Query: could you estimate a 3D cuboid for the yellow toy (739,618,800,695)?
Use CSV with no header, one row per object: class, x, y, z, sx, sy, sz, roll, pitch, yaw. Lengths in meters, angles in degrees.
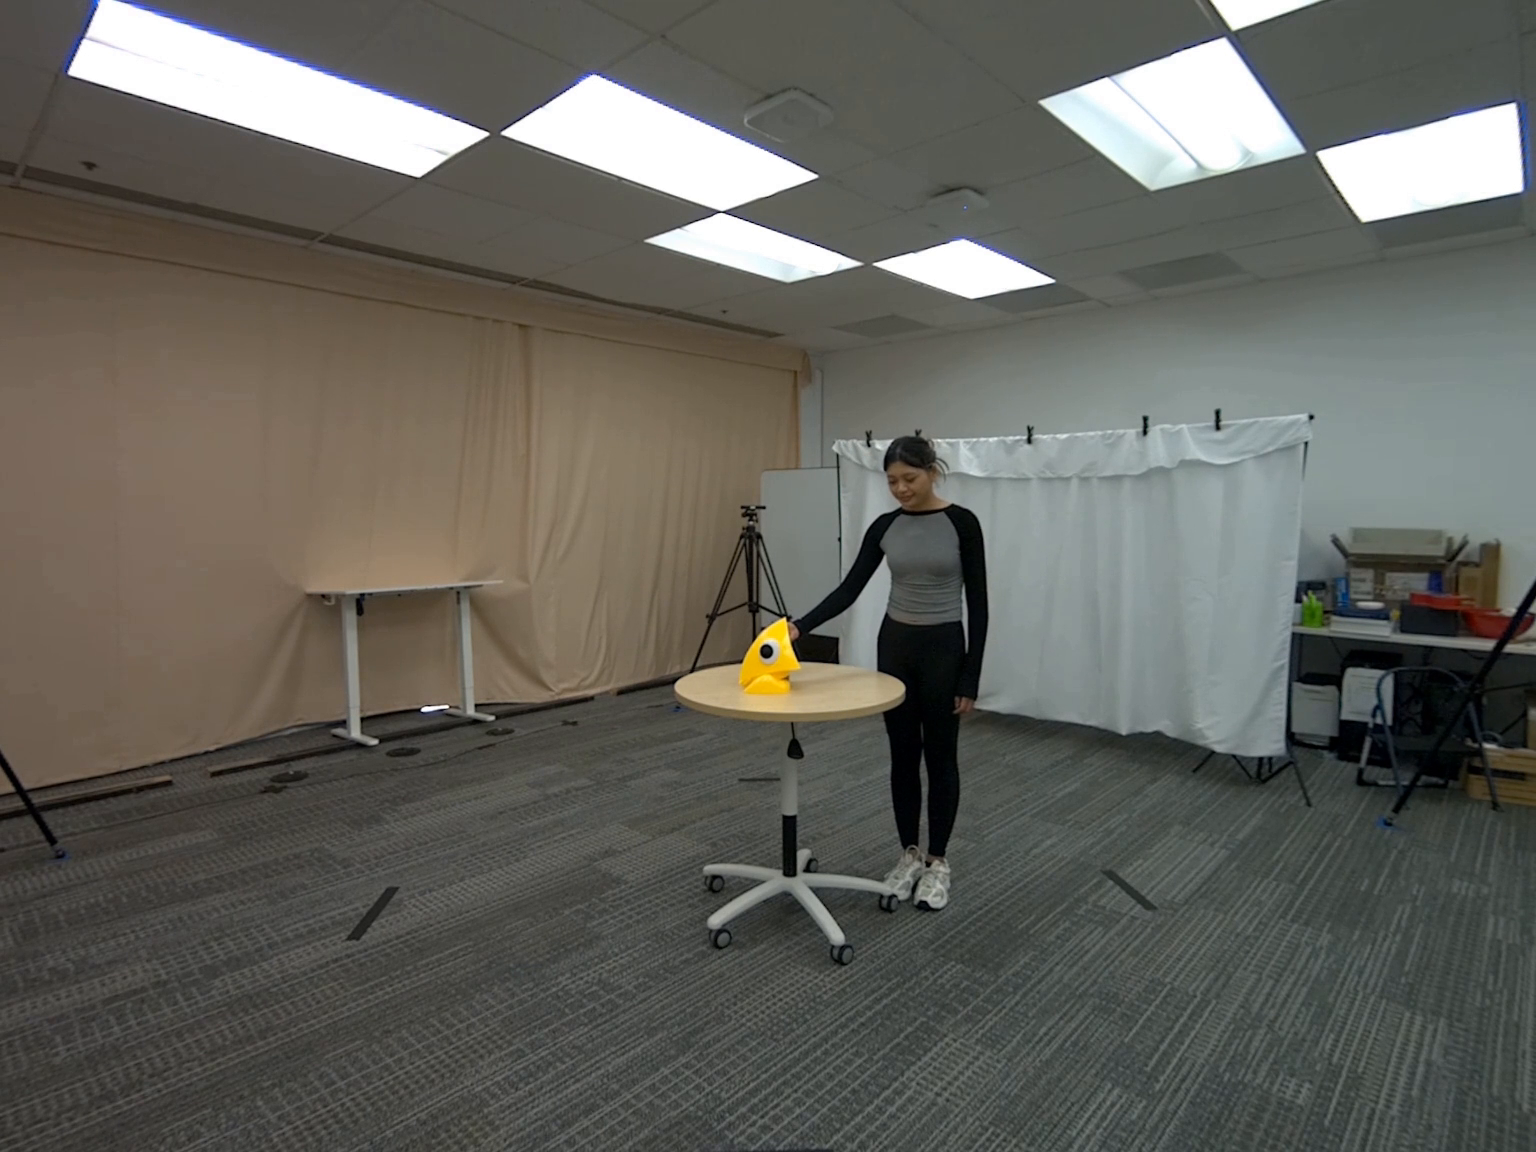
yellow toy,0.003,0.254,2.770,0.191,0.230,0.207,0,4,-9
